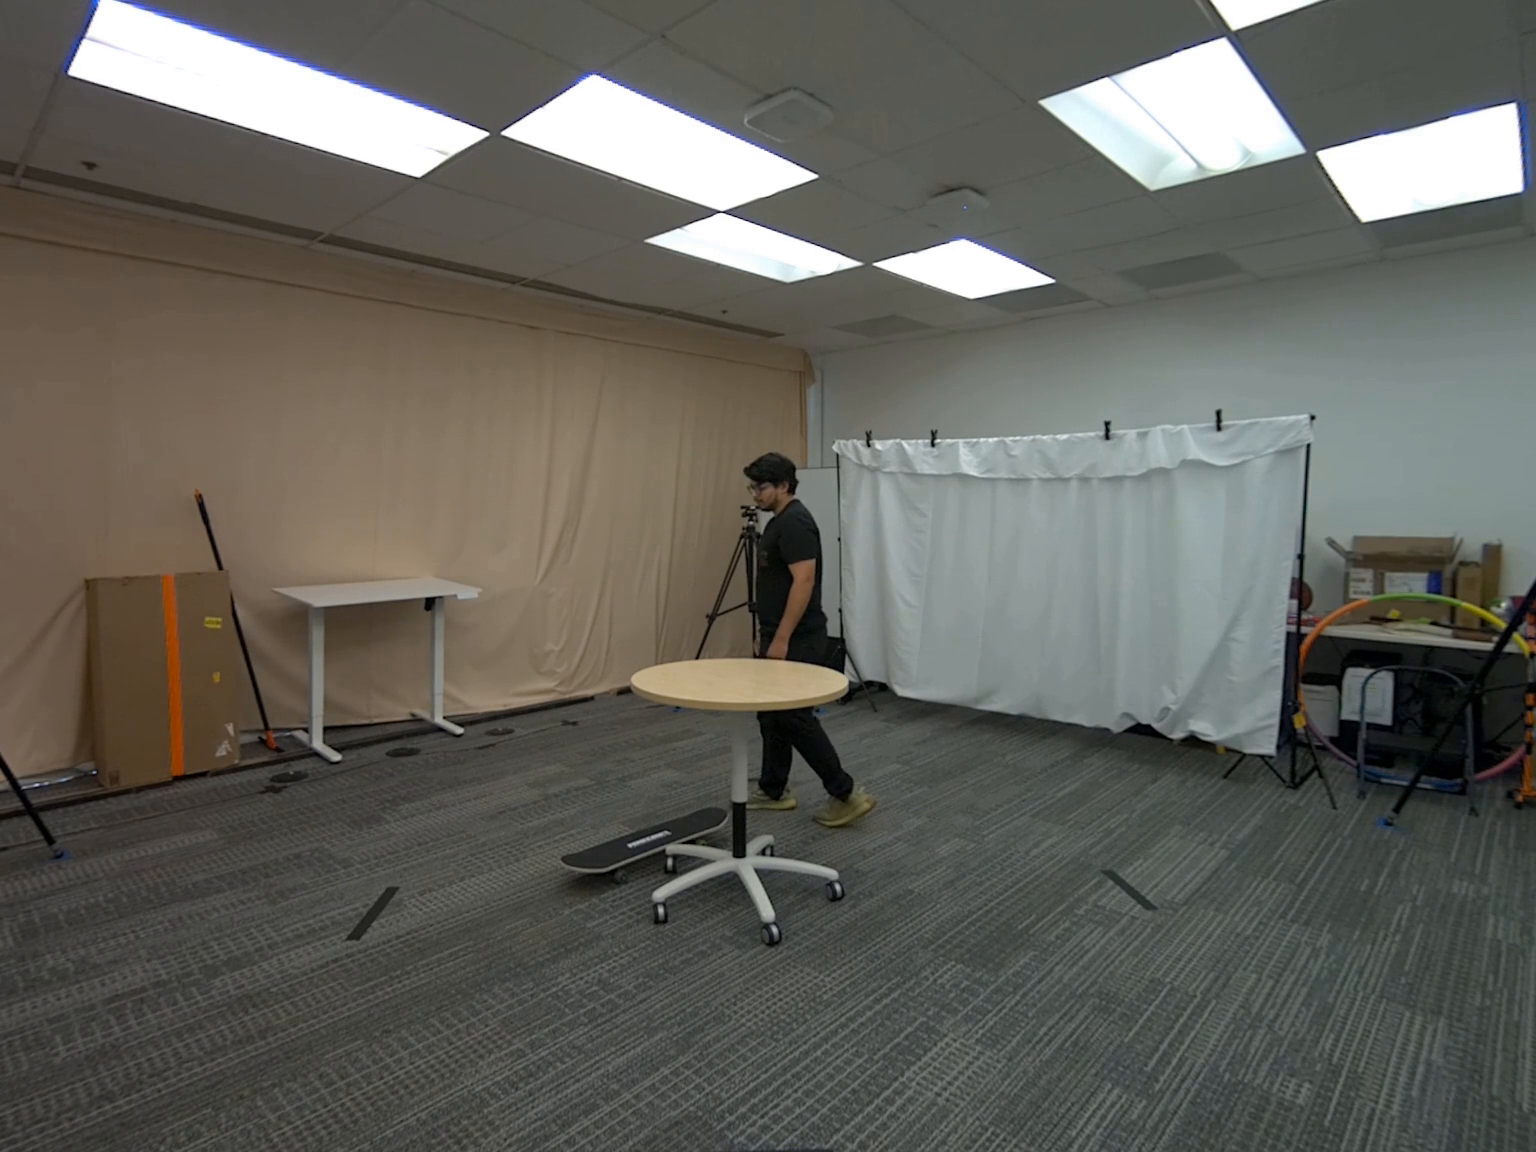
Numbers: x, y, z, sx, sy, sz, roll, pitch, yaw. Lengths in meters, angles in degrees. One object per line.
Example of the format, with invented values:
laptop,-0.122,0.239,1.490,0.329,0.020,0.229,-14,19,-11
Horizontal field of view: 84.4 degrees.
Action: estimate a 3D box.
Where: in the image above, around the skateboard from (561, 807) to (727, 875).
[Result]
skateboard,-0.465,1.064,3.303,0.761,0.110,0.200,-5,6,-44
